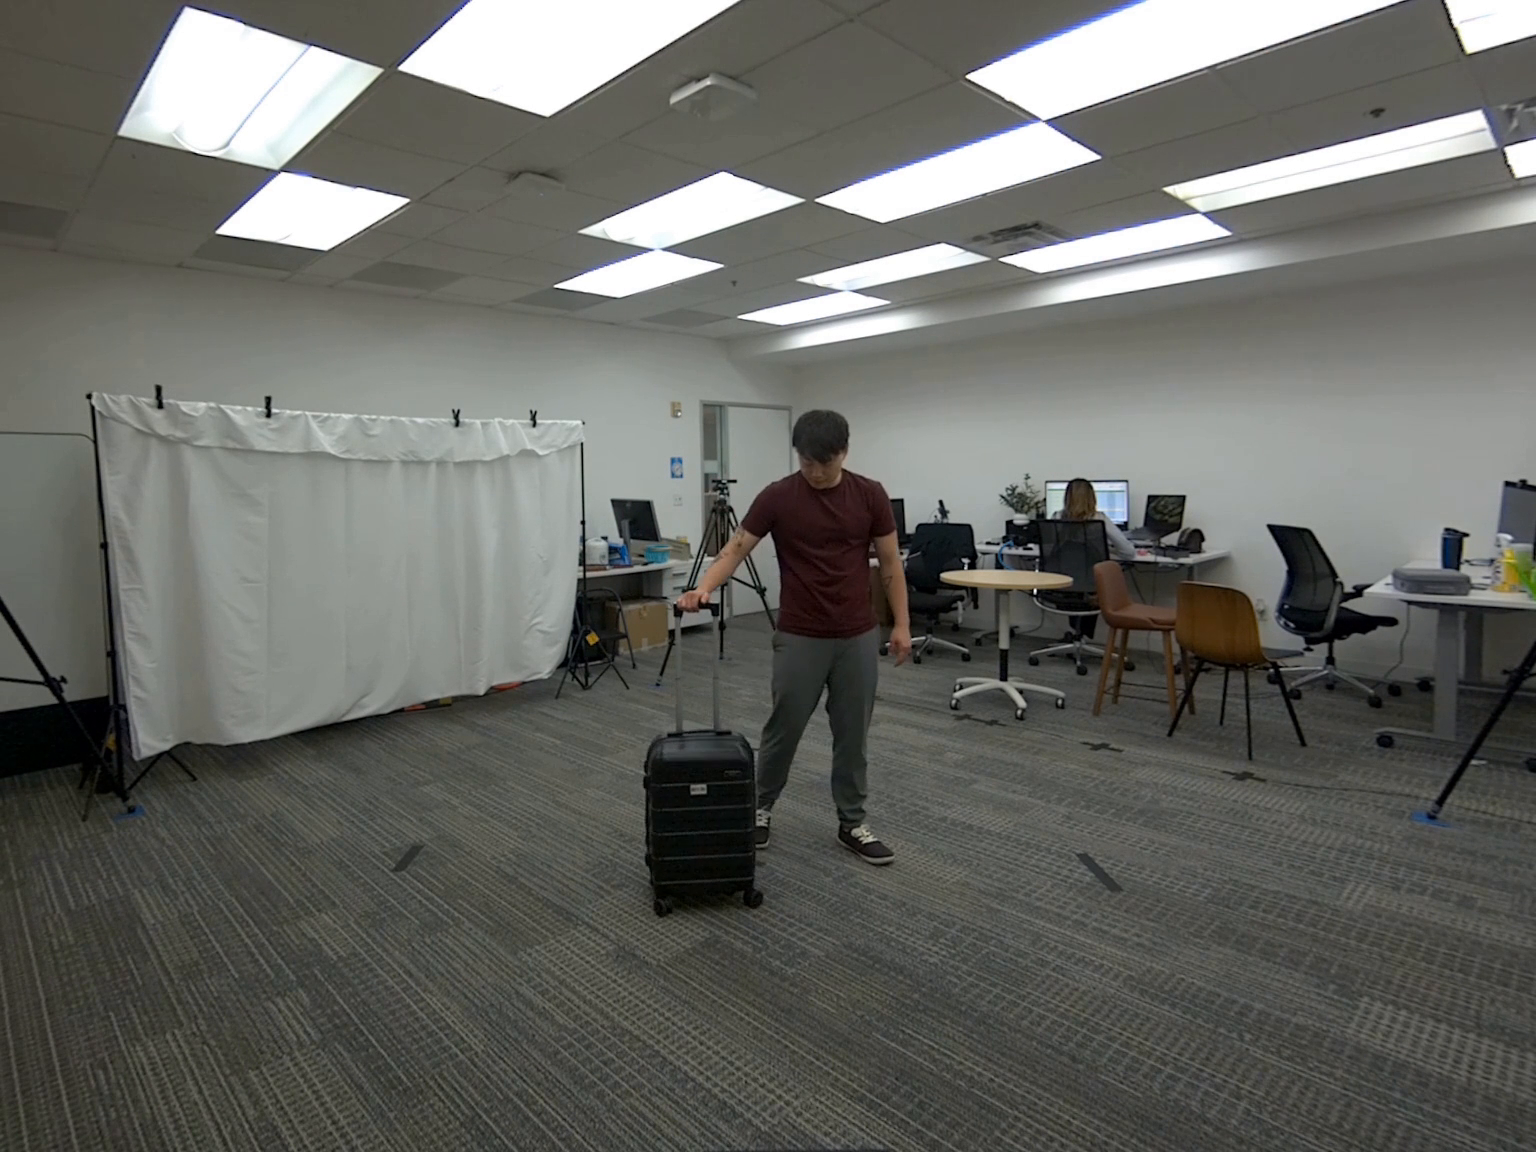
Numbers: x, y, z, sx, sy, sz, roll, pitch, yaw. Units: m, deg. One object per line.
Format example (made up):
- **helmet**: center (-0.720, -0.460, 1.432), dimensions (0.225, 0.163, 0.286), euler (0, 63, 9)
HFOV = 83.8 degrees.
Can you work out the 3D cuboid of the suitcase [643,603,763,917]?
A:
- **suitcase**: center (-0.222, 0.601, 2.850), dimensions (0.382, 0.973, 0.260), euler (-1, 6, -5)
